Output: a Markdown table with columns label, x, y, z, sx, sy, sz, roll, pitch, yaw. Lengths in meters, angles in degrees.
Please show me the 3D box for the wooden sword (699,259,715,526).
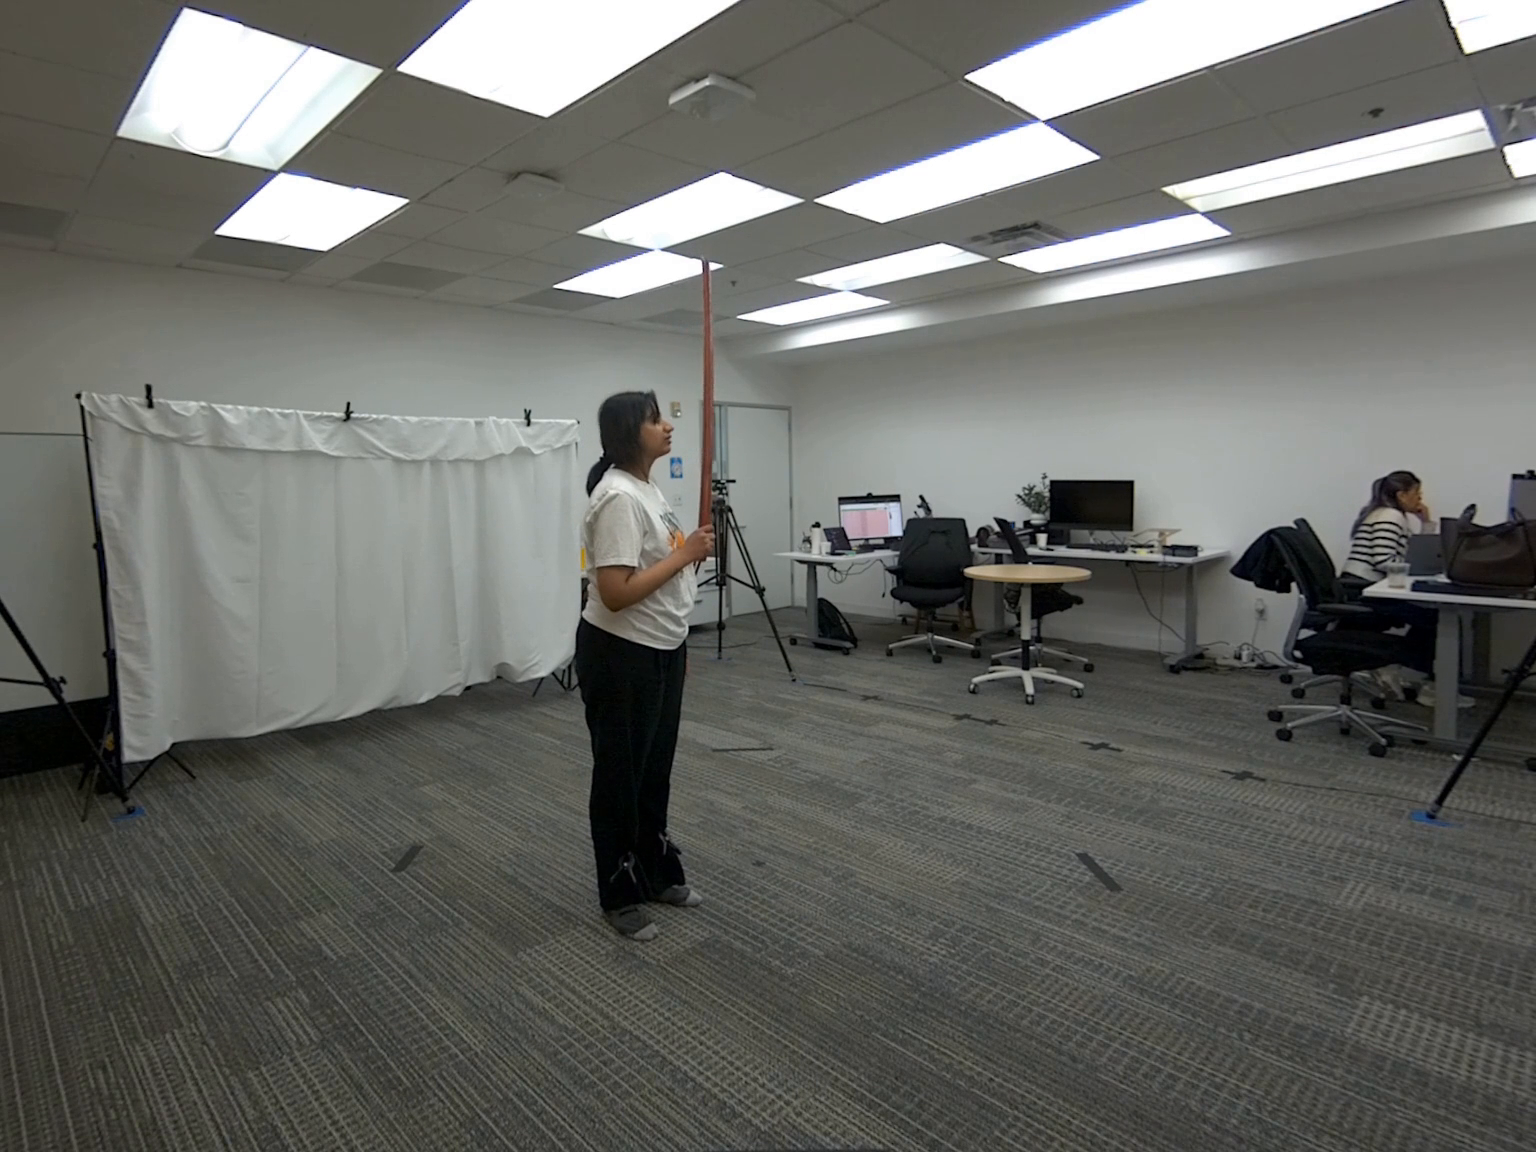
| label | x | y | z | sx | sy | sz | roll | pitch | yaw |
| --- | --- | --- | --- | --- | --- | --- | --- | --- | --- |
| wooden sword | -0.198 | -0.559 | 2.727 | 0.050 | 1.037 | 0.024 | 3 | -13 | -19 |
